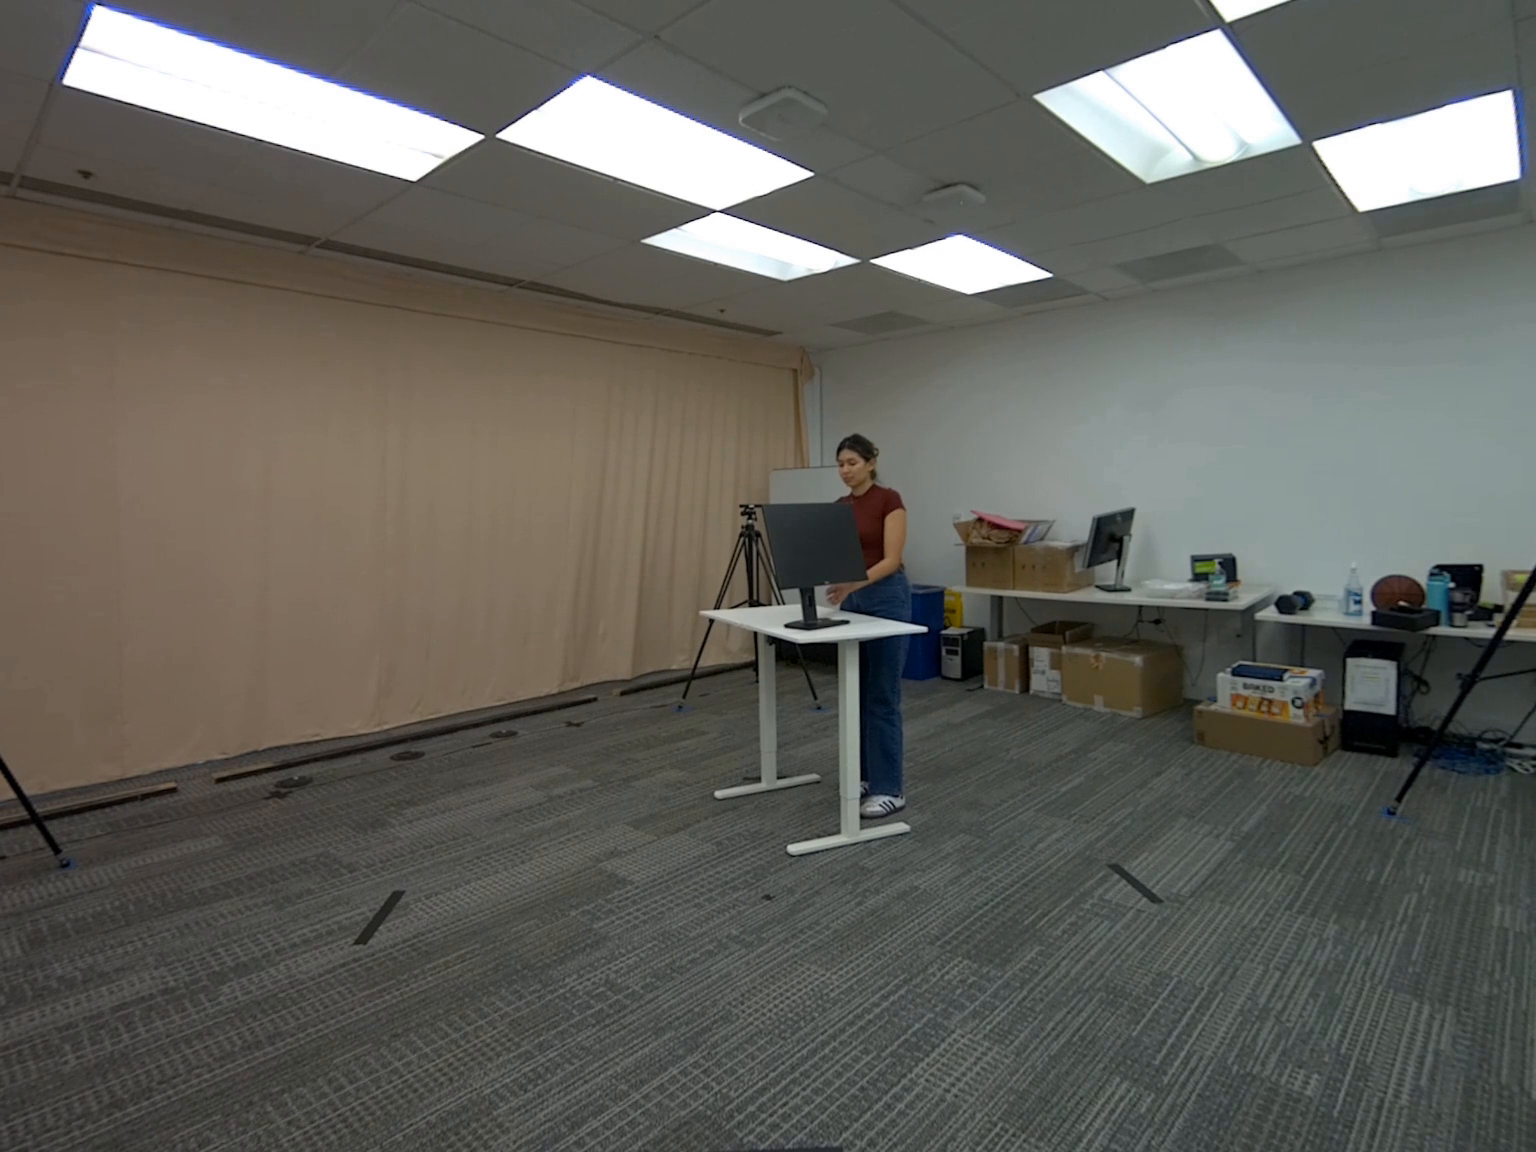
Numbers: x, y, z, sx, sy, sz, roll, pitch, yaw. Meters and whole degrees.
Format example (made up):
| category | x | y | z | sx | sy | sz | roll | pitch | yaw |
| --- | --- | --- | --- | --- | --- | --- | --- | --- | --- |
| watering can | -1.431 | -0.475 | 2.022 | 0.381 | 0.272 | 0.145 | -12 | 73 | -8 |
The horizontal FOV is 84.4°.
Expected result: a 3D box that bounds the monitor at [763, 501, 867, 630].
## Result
| category | x | y | z | sx | sy | sz | roll | pitch | yaw |
| --- | --- | --- | --- | --- | --- | --- | --- | --- | --- |
| monitor | 0.194 | -0.044 | 3.538 | 0.523 | 0.522 | 0.193 | -5 | 2 | -43 |
